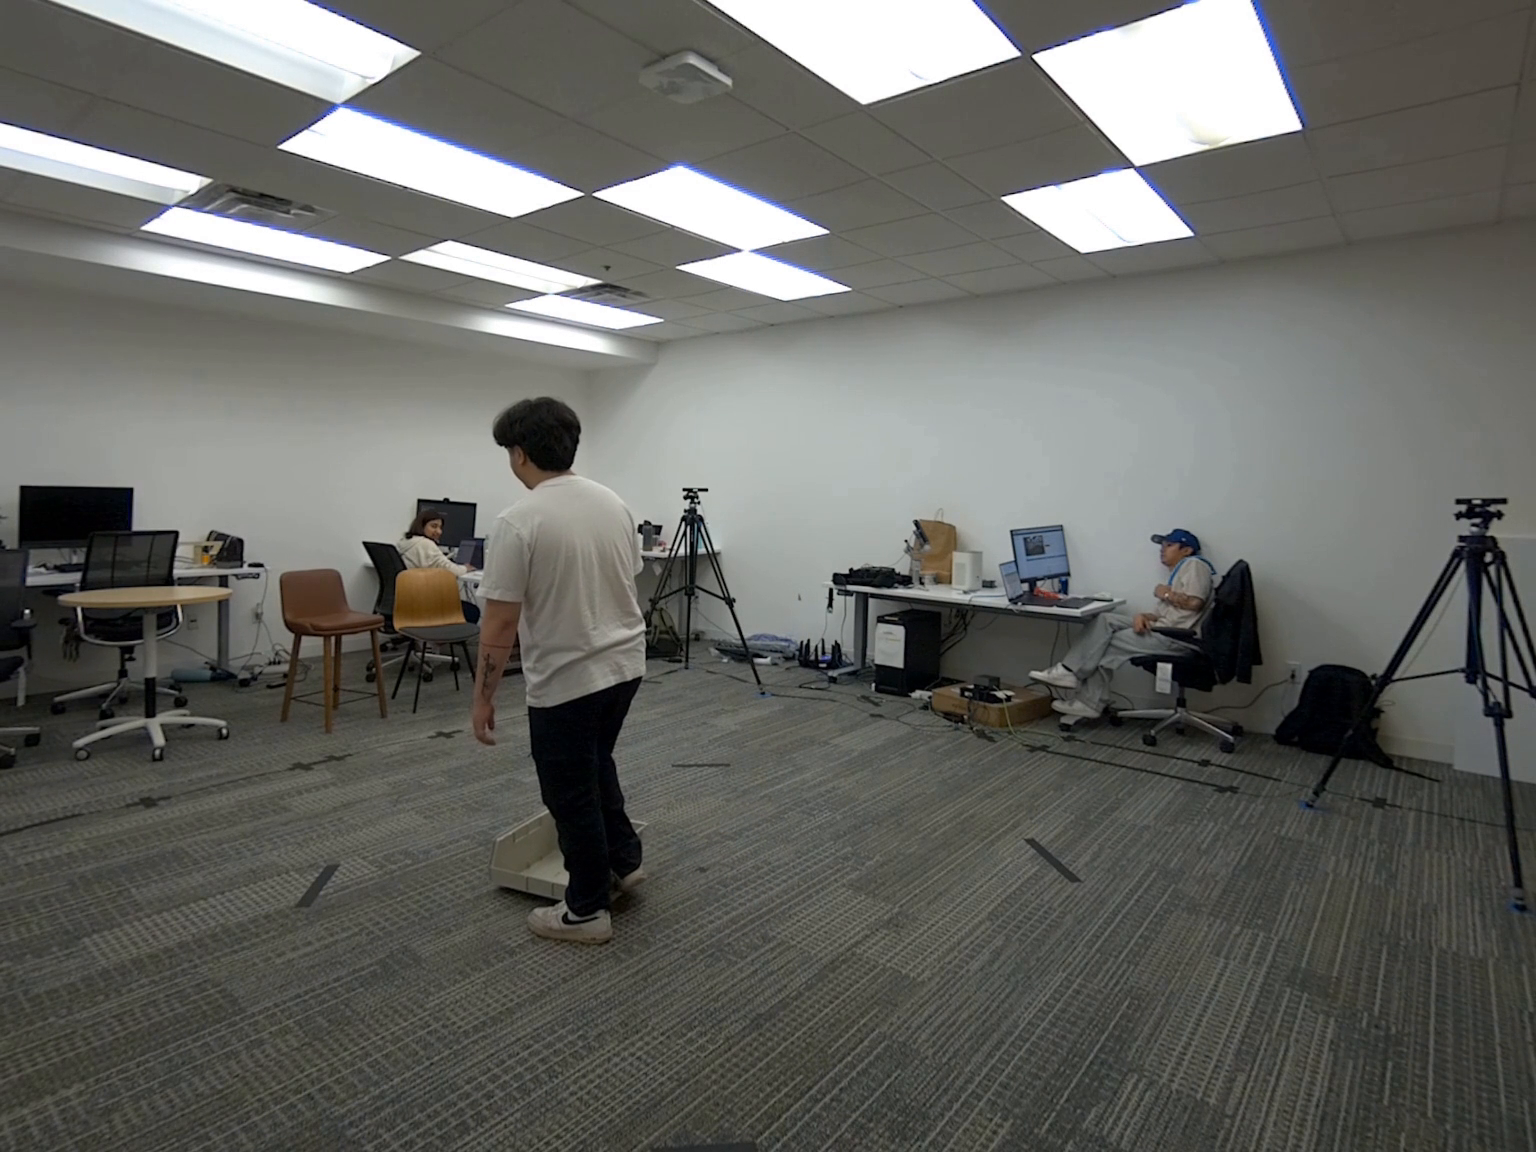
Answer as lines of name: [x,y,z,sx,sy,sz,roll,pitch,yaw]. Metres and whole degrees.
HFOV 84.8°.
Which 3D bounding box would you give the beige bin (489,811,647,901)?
beige bin: [-0.705,0.981,2.979,0.432,0.188,0.369,3,4,22]
